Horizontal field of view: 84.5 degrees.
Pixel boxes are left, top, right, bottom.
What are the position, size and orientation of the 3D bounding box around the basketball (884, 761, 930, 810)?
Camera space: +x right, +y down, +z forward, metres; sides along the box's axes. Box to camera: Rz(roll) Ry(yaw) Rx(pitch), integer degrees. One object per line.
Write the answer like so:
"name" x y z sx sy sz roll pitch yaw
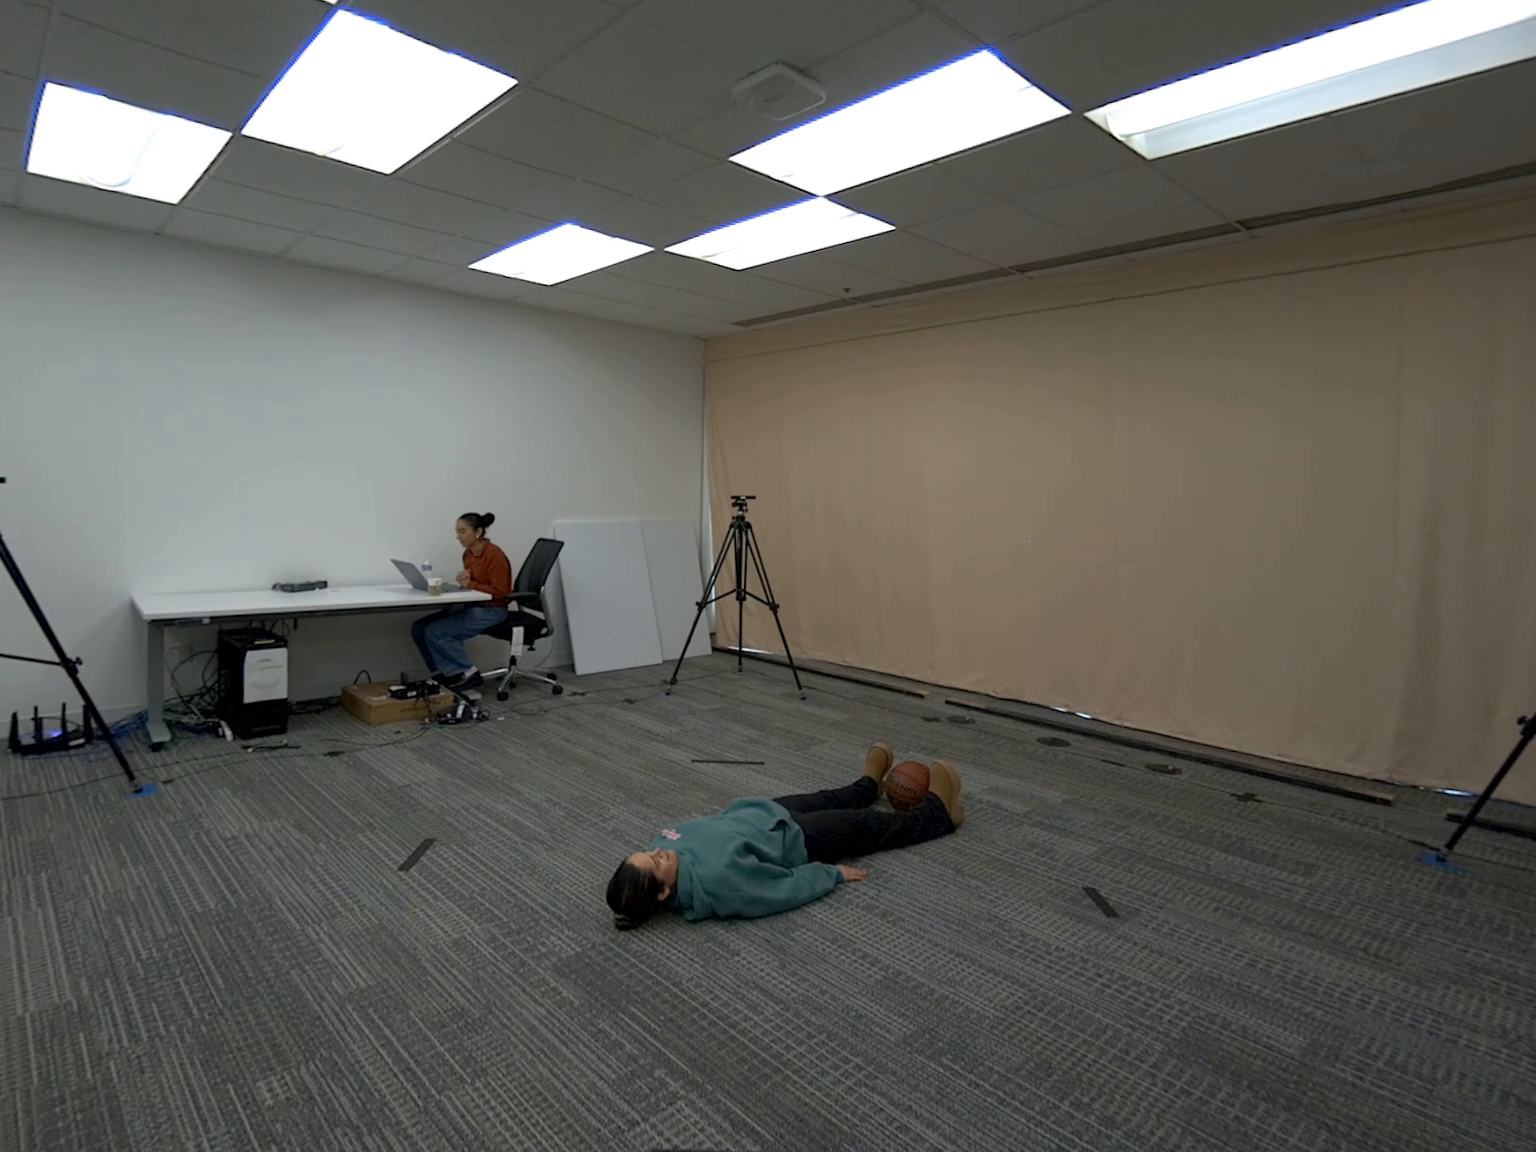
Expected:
"basketball" 0.621 0.944 3.761 0.236 0.235 0.237 1 5 -1
